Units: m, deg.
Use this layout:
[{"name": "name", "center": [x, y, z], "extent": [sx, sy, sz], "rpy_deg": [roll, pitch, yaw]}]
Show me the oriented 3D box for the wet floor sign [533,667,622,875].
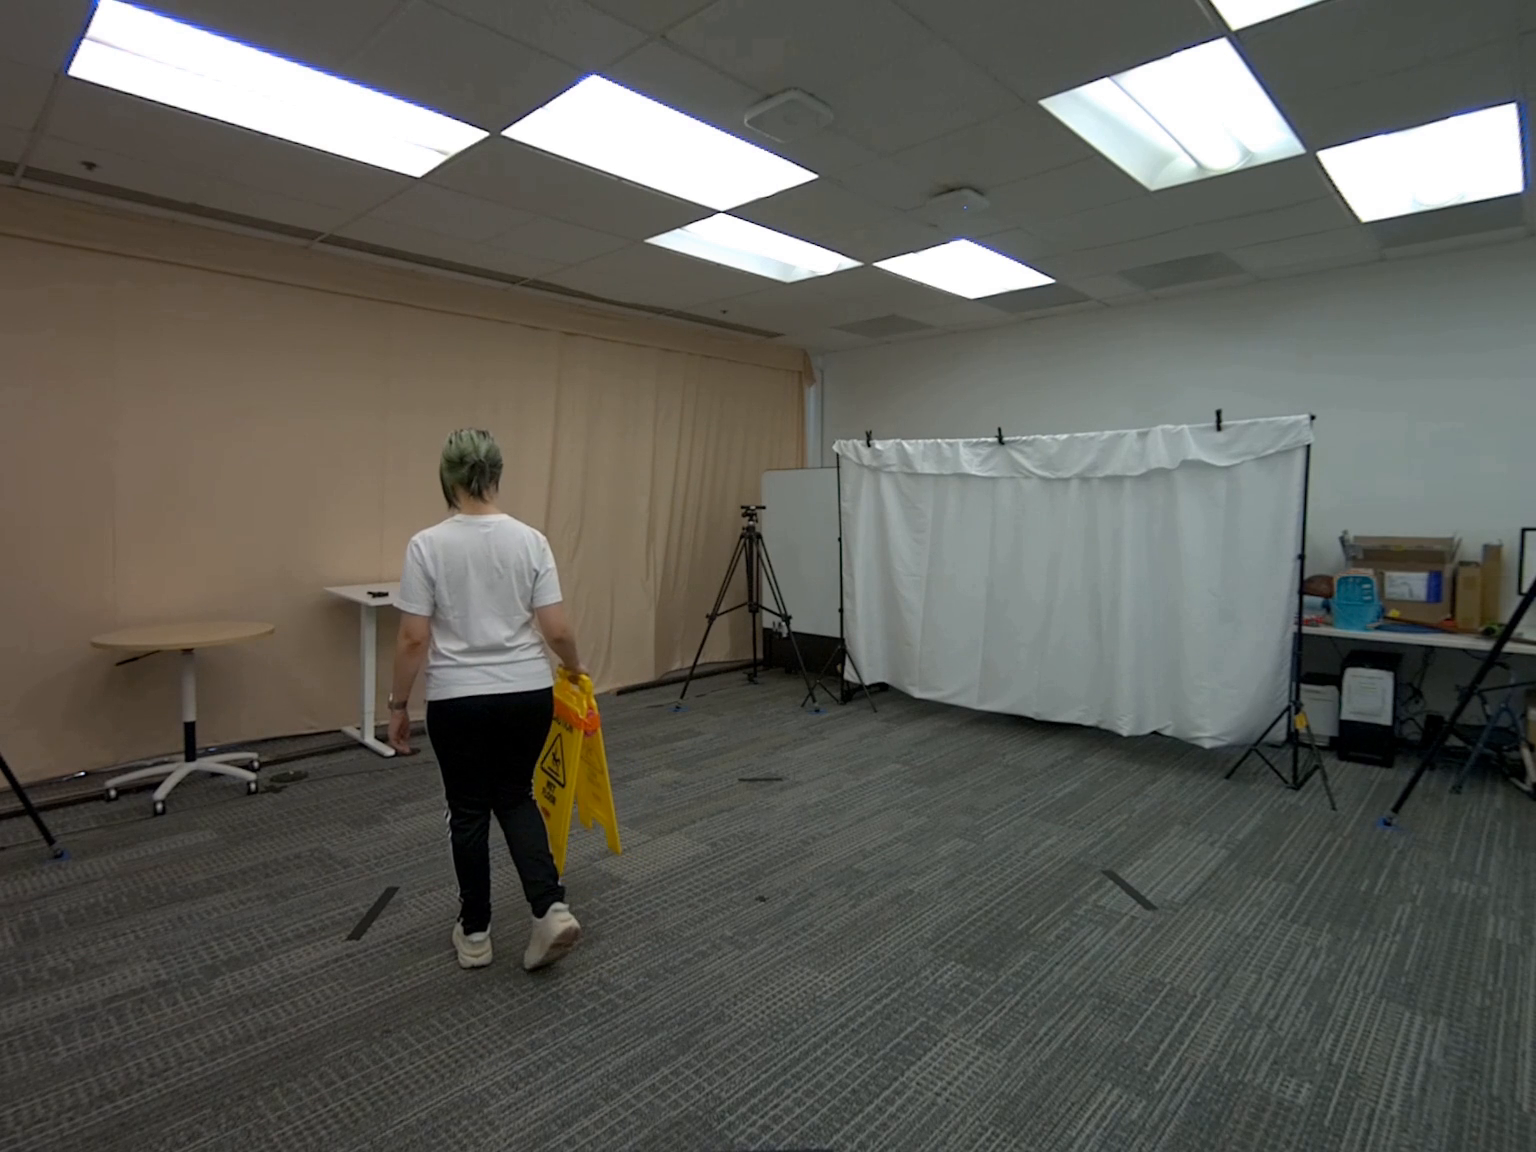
[{"name": "wet floor sign", "center": [-0.662, 0.629, 2.870], "extent": [0.281, 0.642, 0.292], "rpy_deg": [-4, 14, -41]}]
